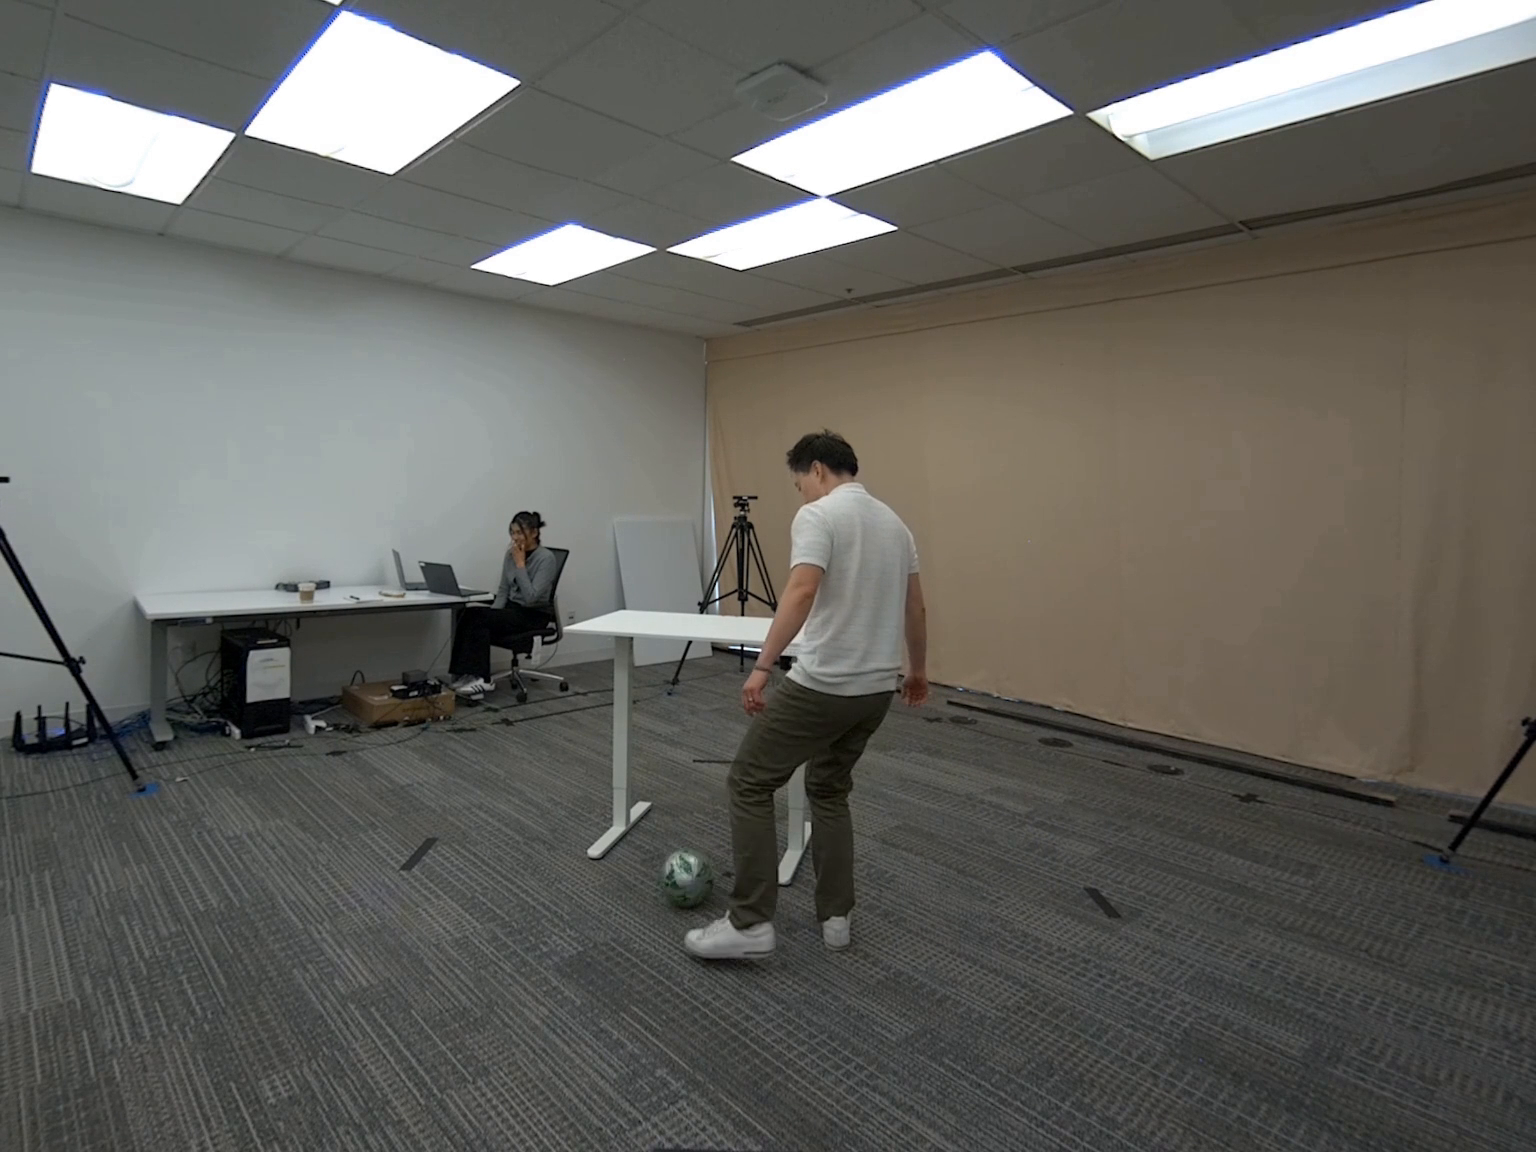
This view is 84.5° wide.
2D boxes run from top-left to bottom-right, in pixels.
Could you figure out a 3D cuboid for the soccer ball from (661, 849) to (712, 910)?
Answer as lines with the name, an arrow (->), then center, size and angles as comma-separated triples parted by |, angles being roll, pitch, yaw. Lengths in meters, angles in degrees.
soccer ball -> -0.291, 1.023, 2.872 | 0.187, 0.187, 0.188 | 1, 4, -1
